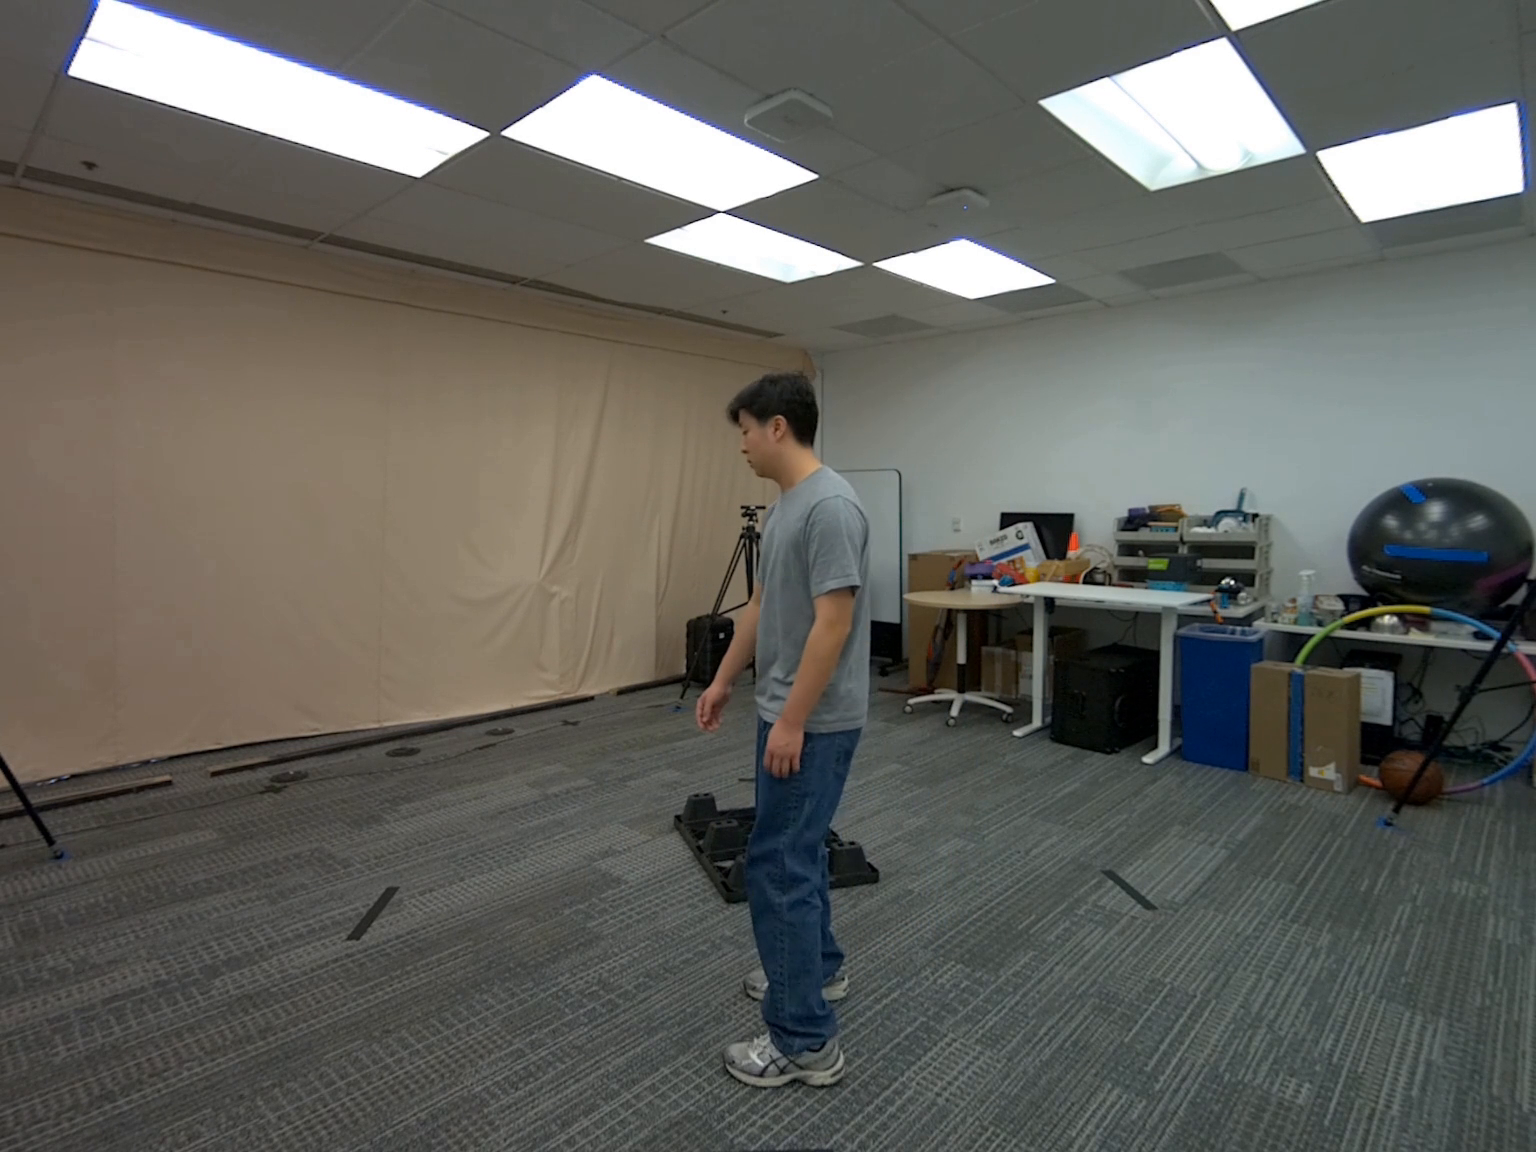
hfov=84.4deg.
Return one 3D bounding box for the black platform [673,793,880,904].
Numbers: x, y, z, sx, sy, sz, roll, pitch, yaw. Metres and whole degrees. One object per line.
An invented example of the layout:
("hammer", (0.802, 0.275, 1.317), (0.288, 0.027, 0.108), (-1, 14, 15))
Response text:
("black platform", (-0.003, 1.040, 3.396), (0.594, 0.143, 0.823), (-1, 4, -20))
